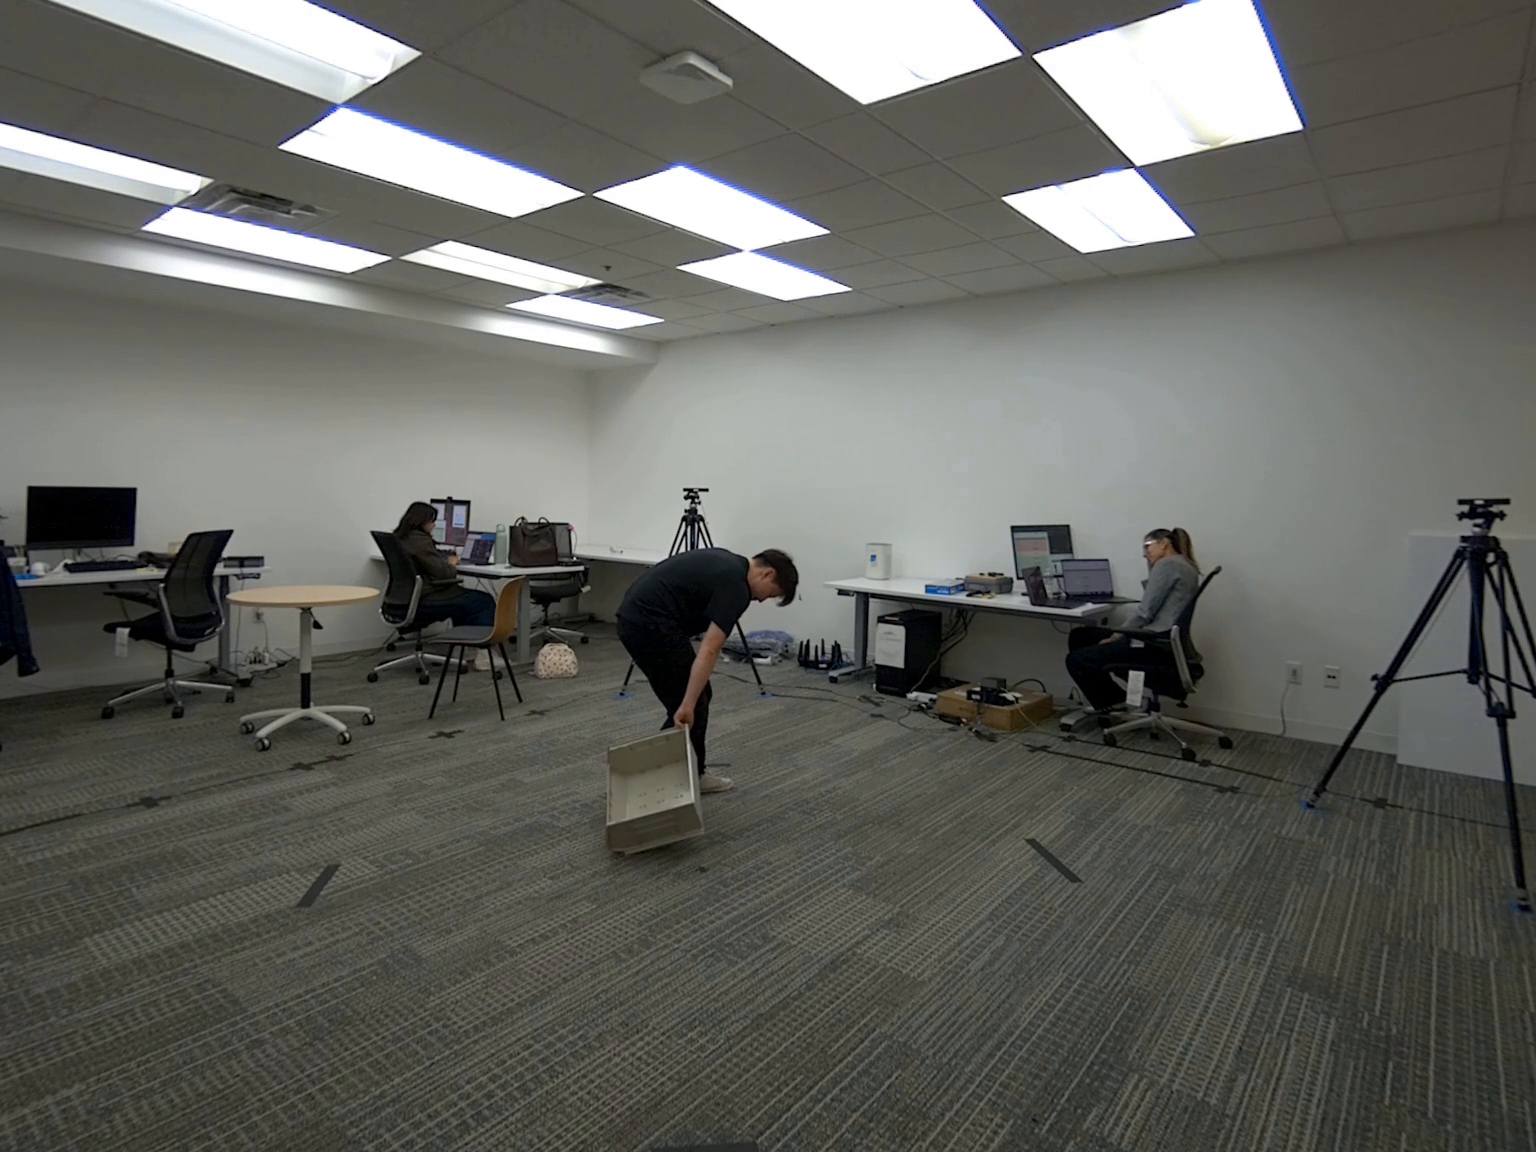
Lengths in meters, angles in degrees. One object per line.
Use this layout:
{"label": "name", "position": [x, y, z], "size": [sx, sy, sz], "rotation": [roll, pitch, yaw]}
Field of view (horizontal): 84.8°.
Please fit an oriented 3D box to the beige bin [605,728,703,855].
{"label": "beige bin", "position": [-0.471, 0.832, 3.346], "size": [0.377, 0.183, 0.435], "rotation": [-14, 30, 0]}
